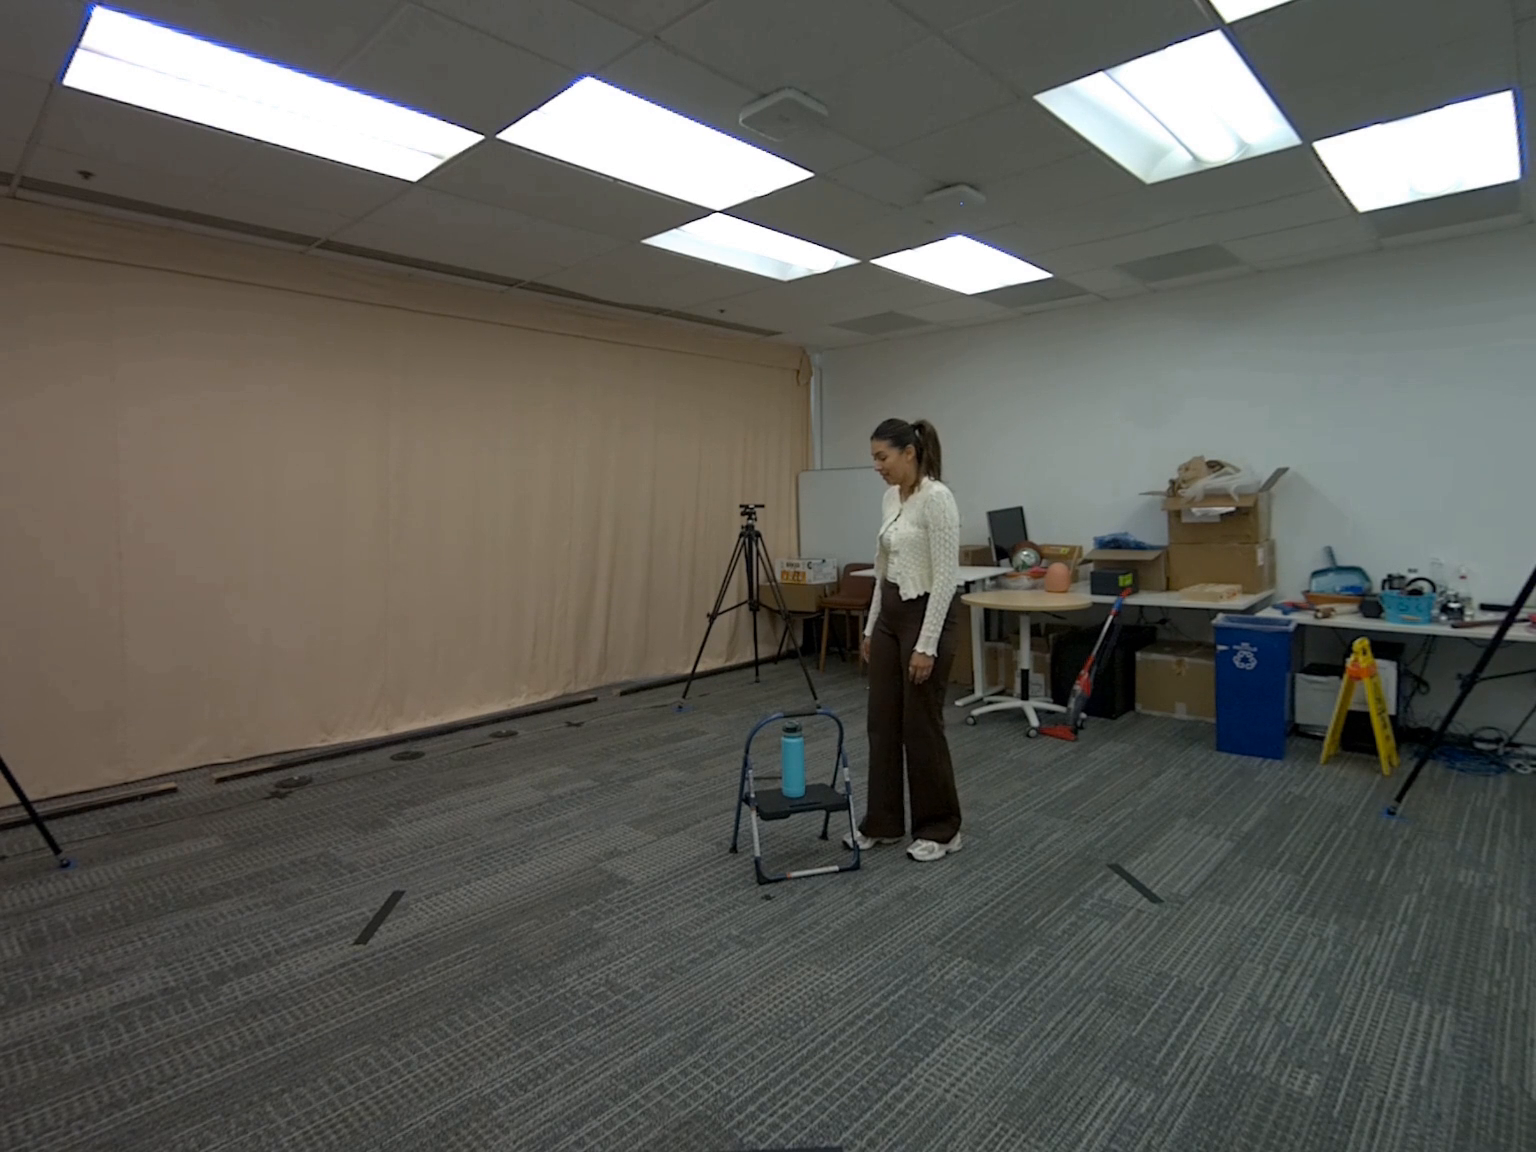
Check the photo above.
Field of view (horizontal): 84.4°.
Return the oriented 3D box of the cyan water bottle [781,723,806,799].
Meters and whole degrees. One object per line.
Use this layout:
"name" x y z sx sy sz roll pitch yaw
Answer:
"cyan water bottle" 0.104 0.712 3.288 0.092 0.283 0.092 -1 1 -2
